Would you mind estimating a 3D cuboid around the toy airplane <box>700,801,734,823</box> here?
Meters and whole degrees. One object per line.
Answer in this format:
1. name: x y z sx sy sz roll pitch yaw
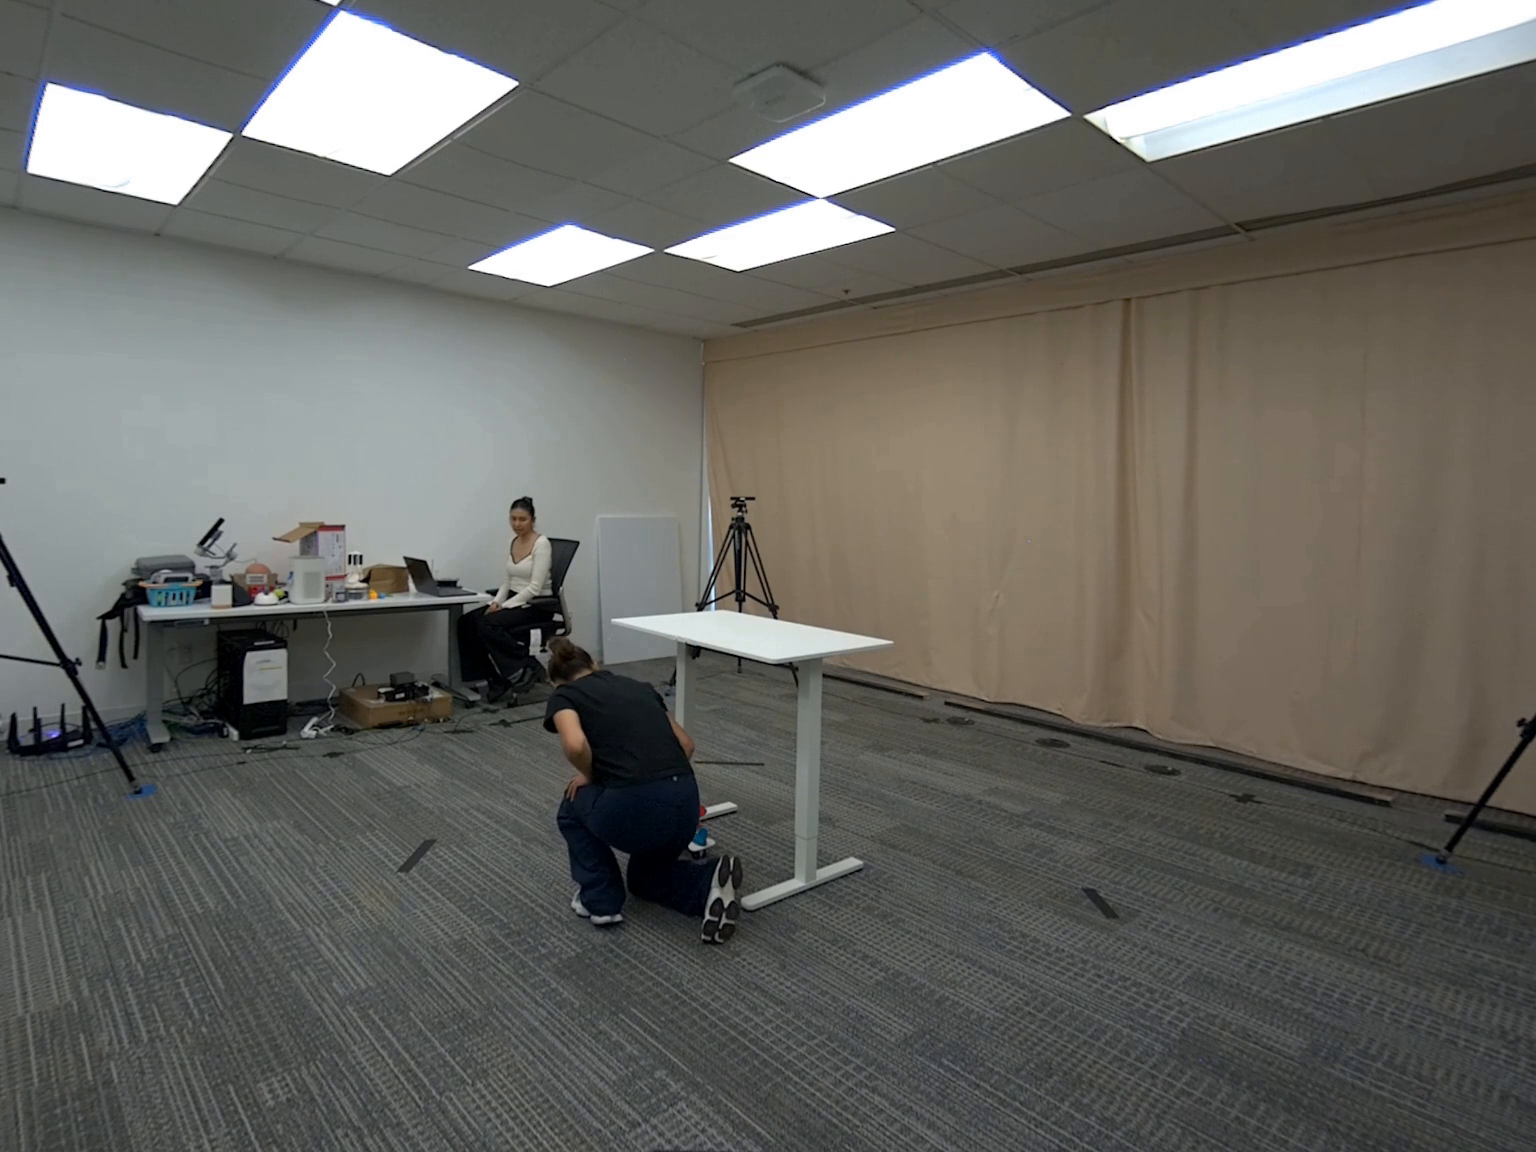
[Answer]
1. toy airplane: -0.327 1.017 3.310 0.263 0.156 0.248 2 3 16
